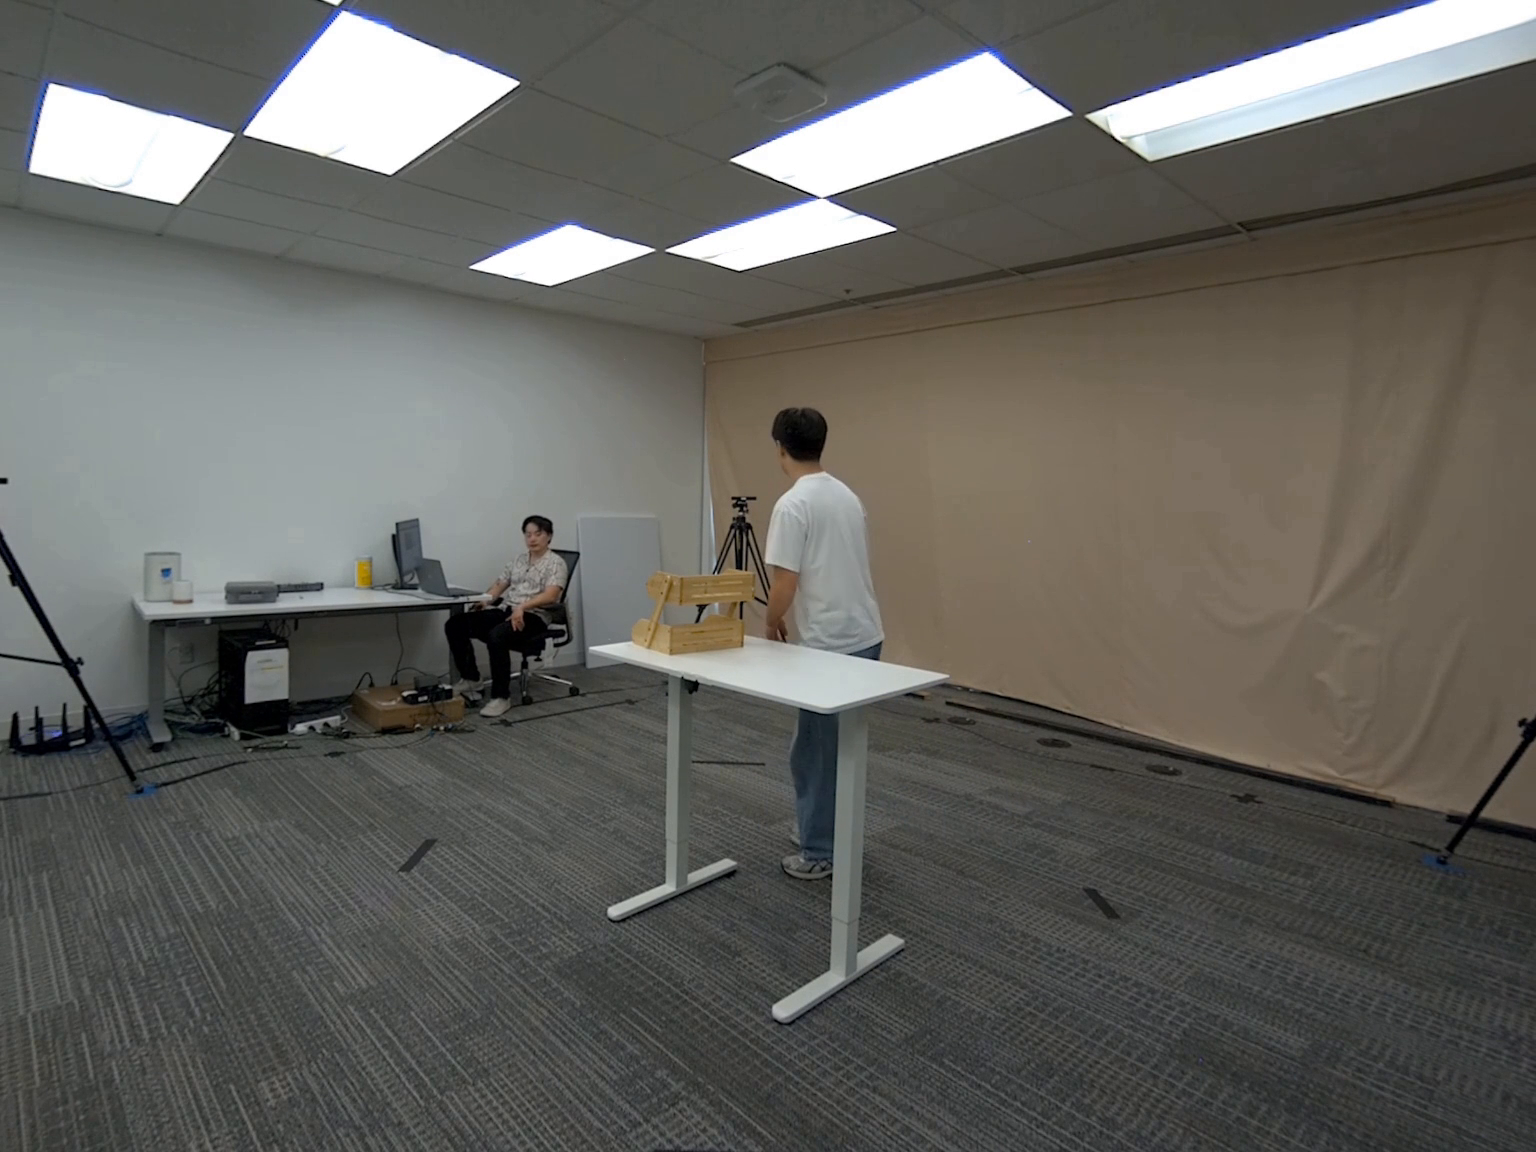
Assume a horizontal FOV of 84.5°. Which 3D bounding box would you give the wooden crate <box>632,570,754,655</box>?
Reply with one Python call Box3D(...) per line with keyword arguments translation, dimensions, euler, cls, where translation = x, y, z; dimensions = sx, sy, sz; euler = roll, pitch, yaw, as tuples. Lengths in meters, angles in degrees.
Box3D(translation=(-0.262, 0.108, 2.854), dimensions=(0.317, 0.272, 0.310), euler=(-3, 7, -39), cls="wooden crate")
